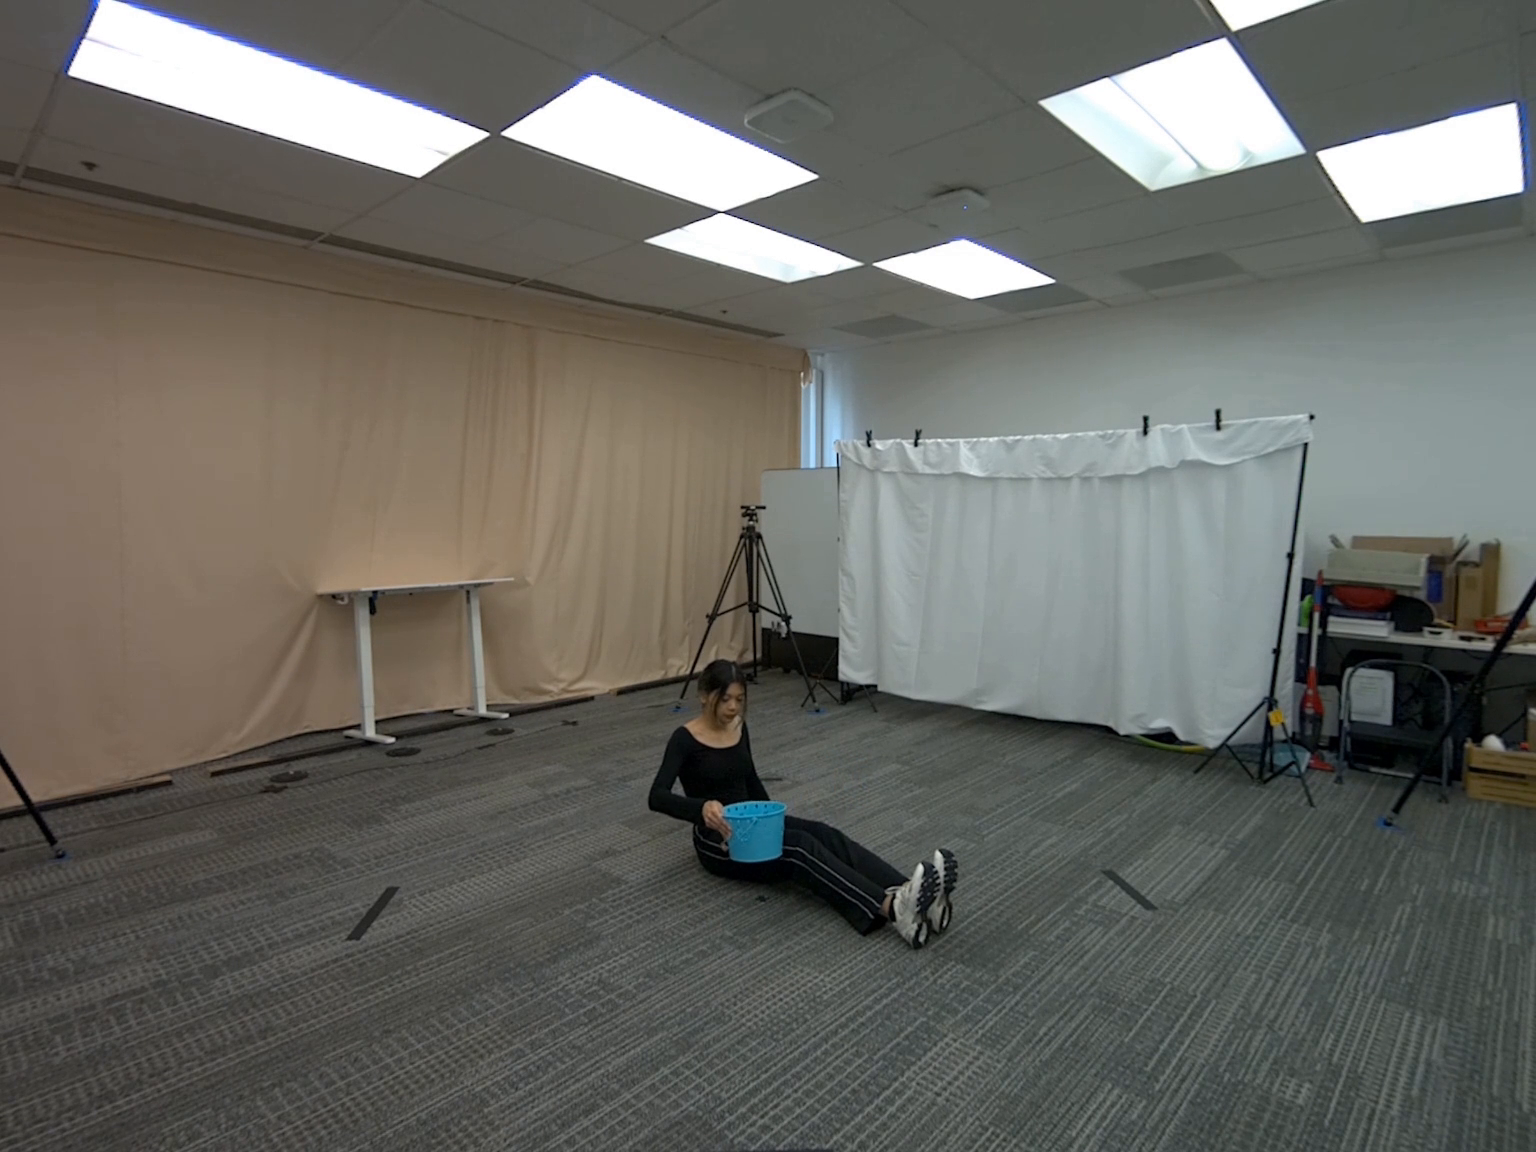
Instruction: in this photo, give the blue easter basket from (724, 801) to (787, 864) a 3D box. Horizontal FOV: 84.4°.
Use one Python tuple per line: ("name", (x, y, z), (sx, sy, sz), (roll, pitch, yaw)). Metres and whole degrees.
("blue easter basket", (-0.053, 0.875, 2.880), (0.243, 0.156, 0.243), (-3, -3, -2))
